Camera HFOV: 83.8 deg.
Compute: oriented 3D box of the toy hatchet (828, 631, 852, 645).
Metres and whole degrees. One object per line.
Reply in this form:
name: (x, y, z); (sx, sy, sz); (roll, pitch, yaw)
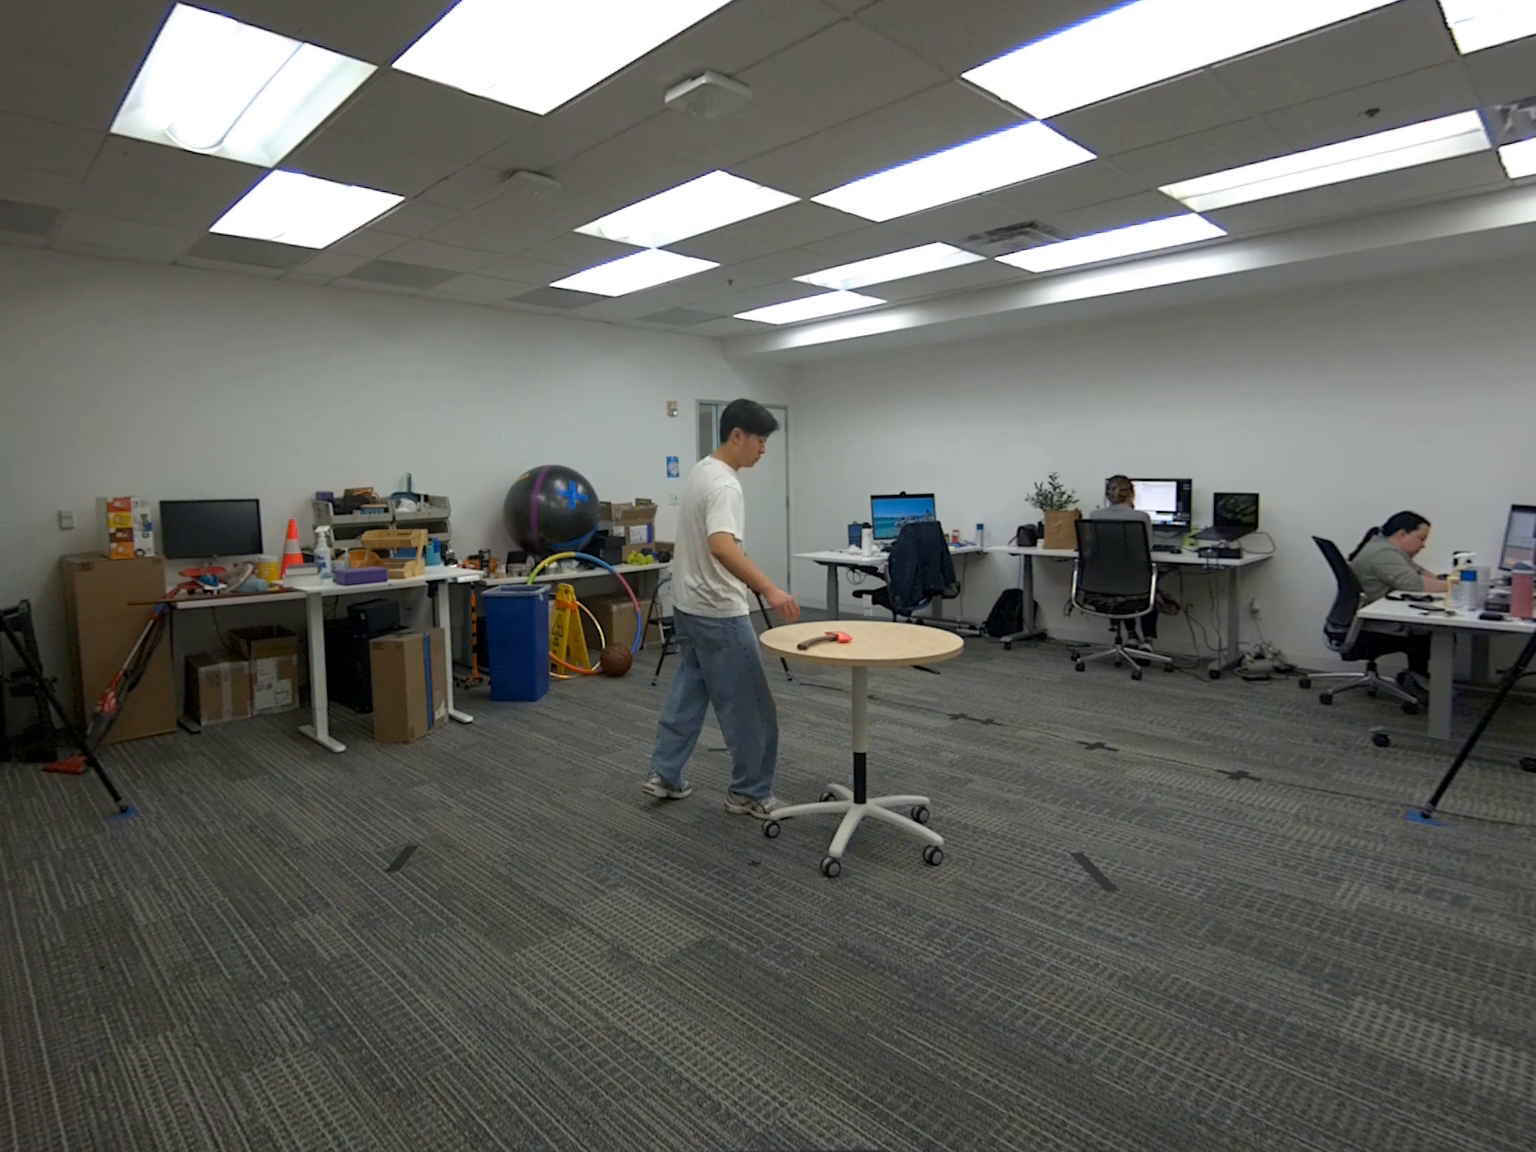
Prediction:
toy hatchet: (0.225, 0.242, 3.140); (0.134, 0.029, 0.265); (6, 11, 27)
